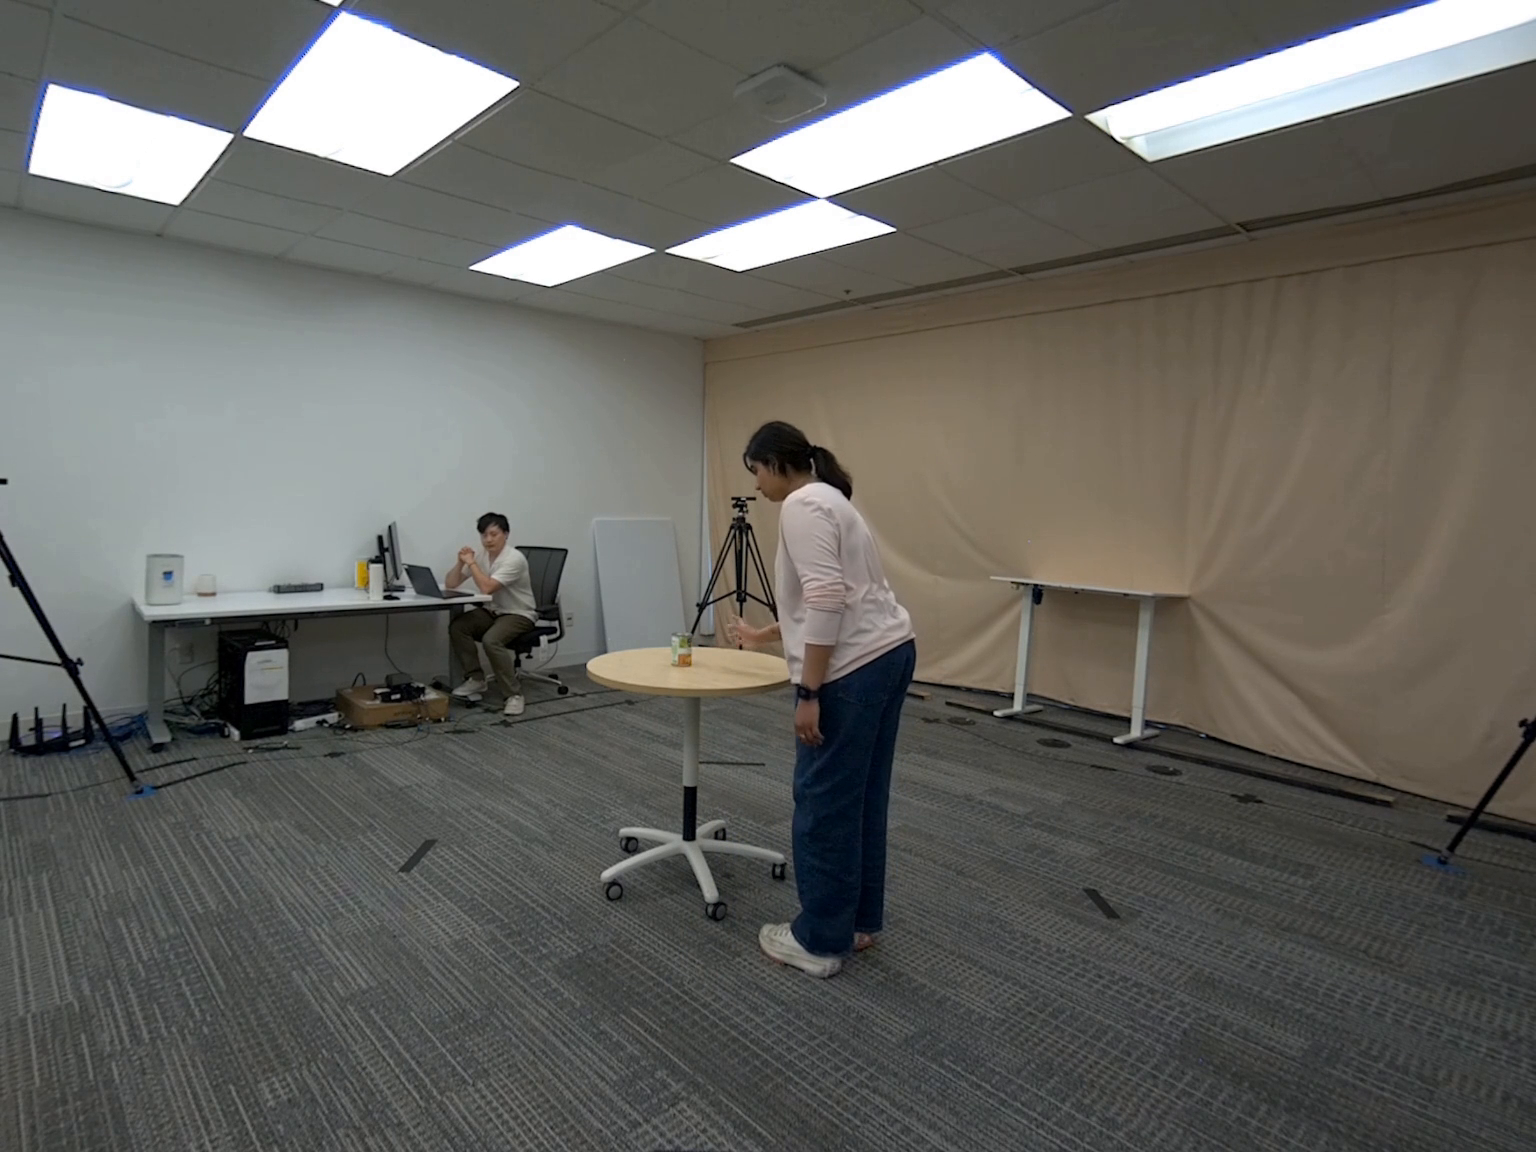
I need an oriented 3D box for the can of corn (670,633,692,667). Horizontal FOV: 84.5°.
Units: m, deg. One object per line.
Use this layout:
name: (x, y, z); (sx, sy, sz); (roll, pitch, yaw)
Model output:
can of corn: (-0.317, 0.271, 3.044); (0.074, 0.111, 0.074); (-1, 2, -1)
